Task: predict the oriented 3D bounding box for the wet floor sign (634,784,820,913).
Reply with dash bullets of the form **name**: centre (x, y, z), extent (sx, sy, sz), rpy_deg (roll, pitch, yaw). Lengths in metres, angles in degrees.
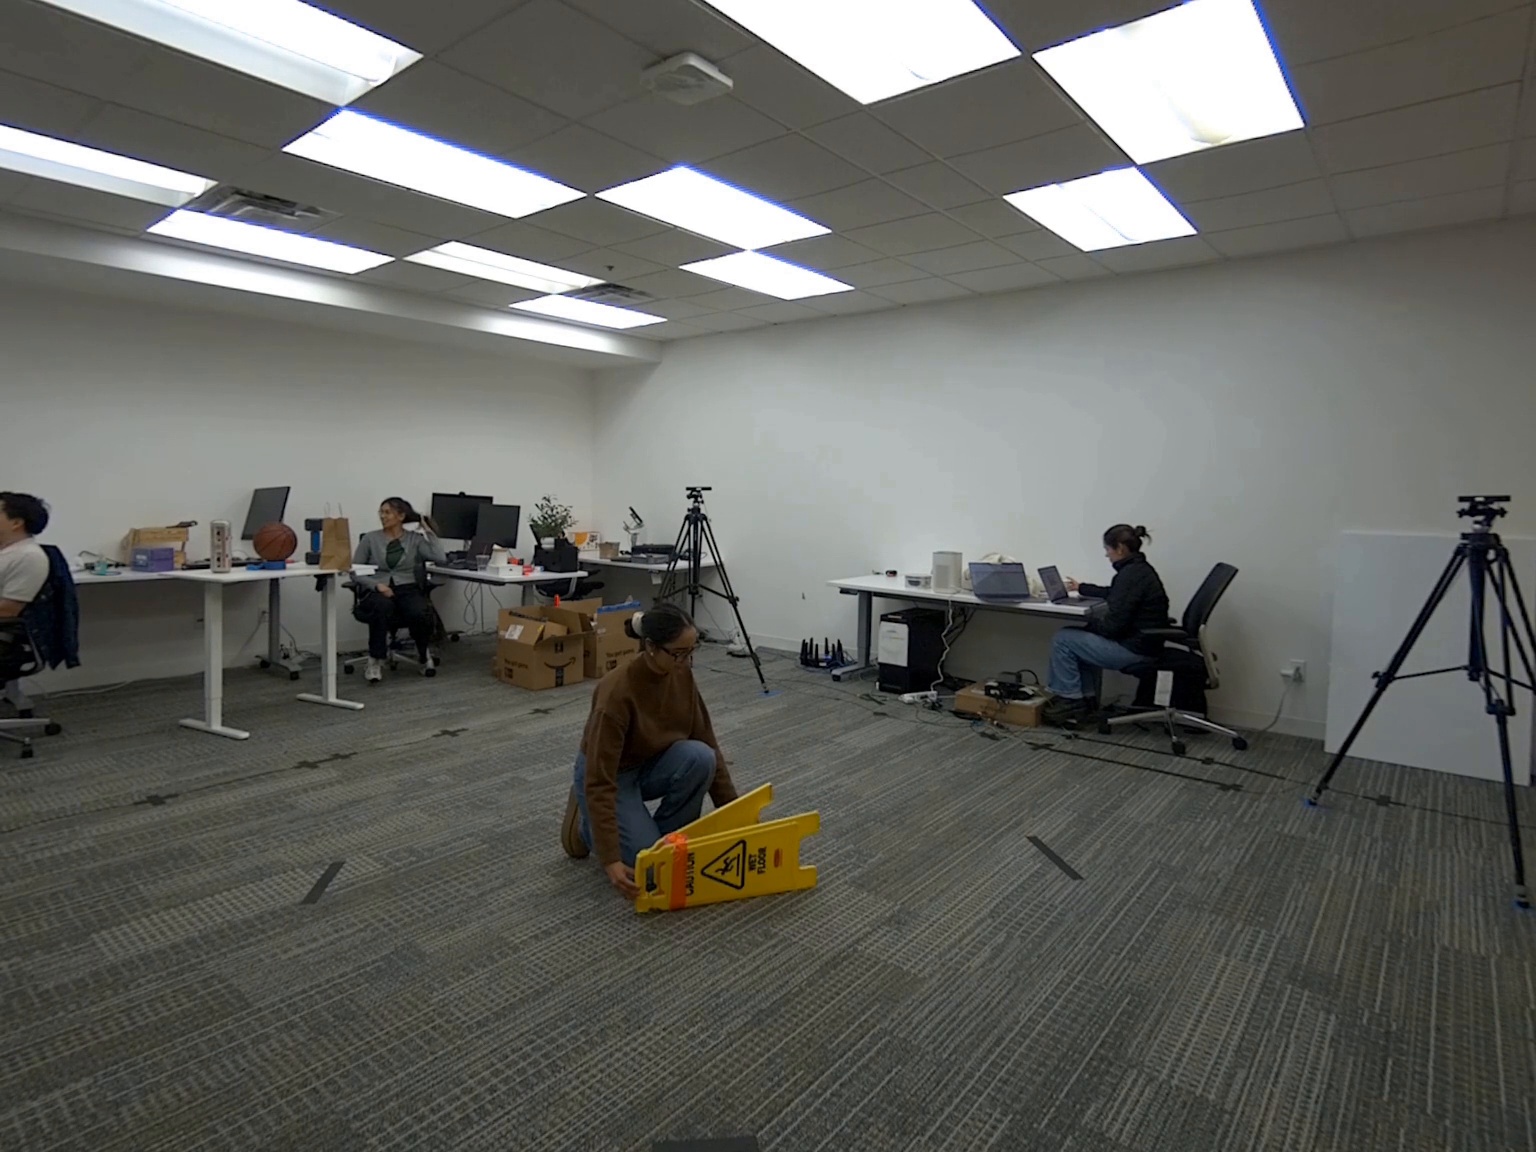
- **wet floor sign**: centre (-0.173, 0.957, 2.893), extent (0.629, 0.280, 0.300), rpy_deg (-6, 13, -35)
